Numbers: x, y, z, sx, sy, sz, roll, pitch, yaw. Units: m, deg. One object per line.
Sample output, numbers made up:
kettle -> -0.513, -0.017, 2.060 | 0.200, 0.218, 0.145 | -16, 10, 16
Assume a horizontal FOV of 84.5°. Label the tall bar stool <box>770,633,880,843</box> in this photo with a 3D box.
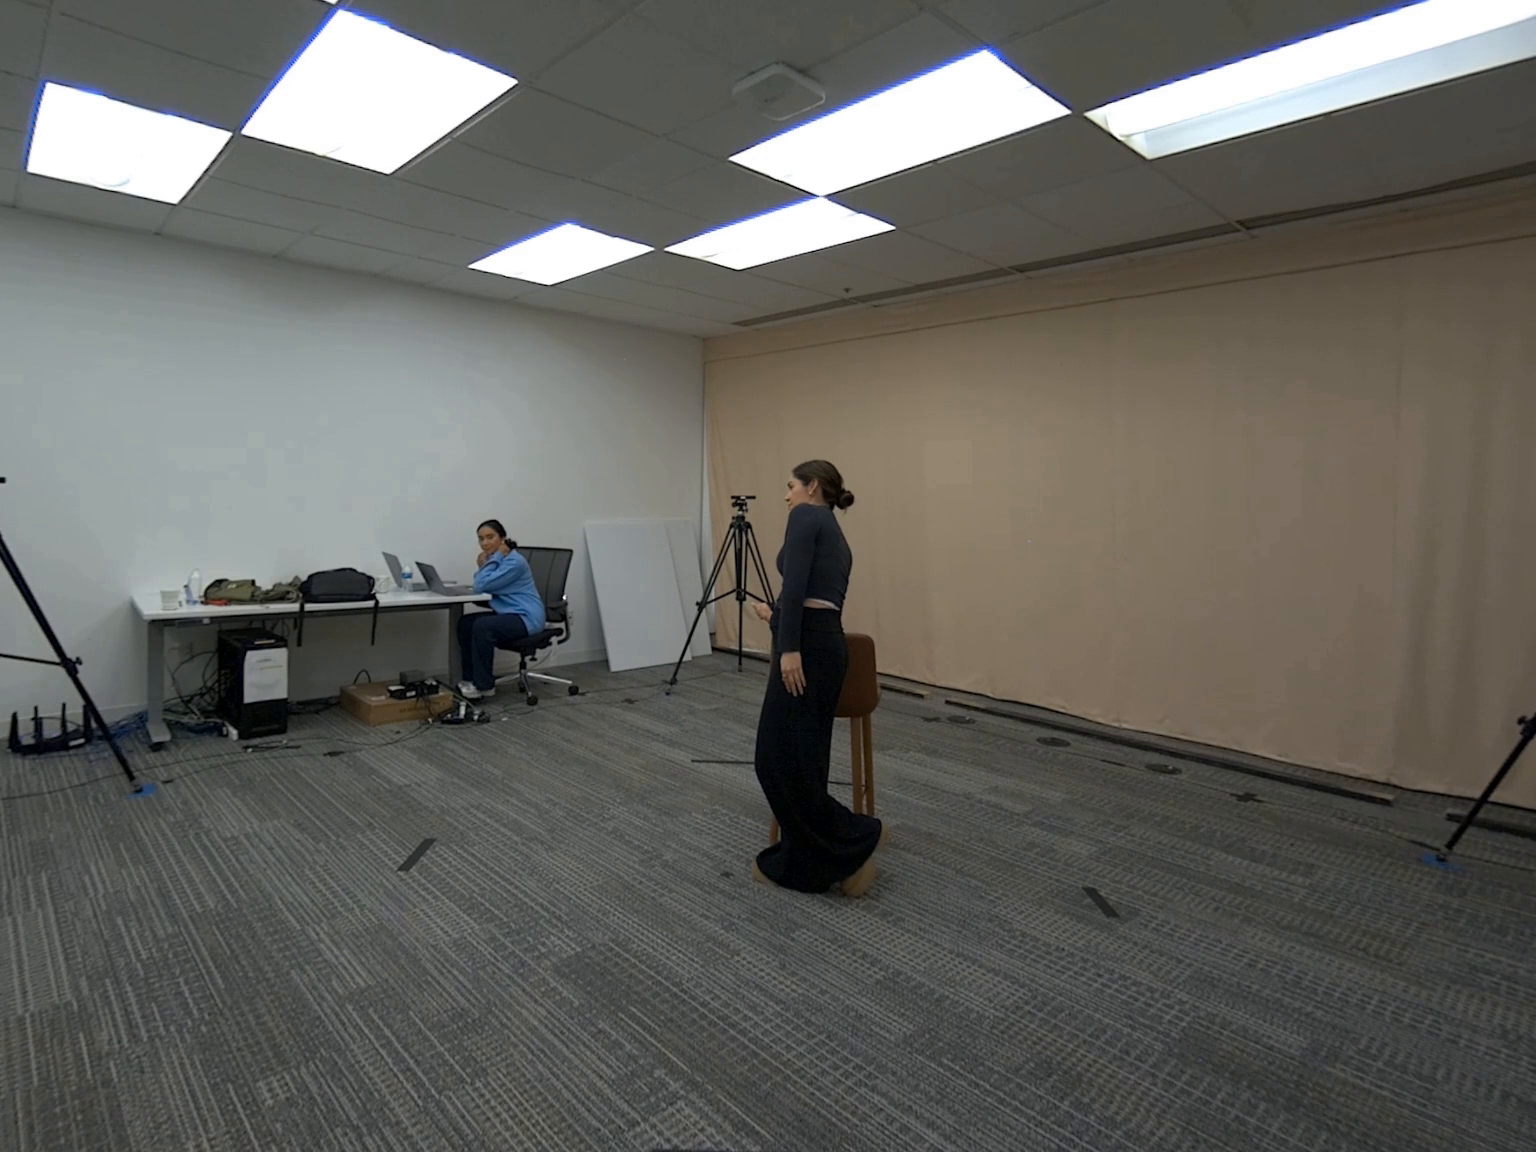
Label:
tall bar stool -> 0.239, 0.641, 3.541 | 0.461, 0.887, 0.464 | 2, 5, 13
